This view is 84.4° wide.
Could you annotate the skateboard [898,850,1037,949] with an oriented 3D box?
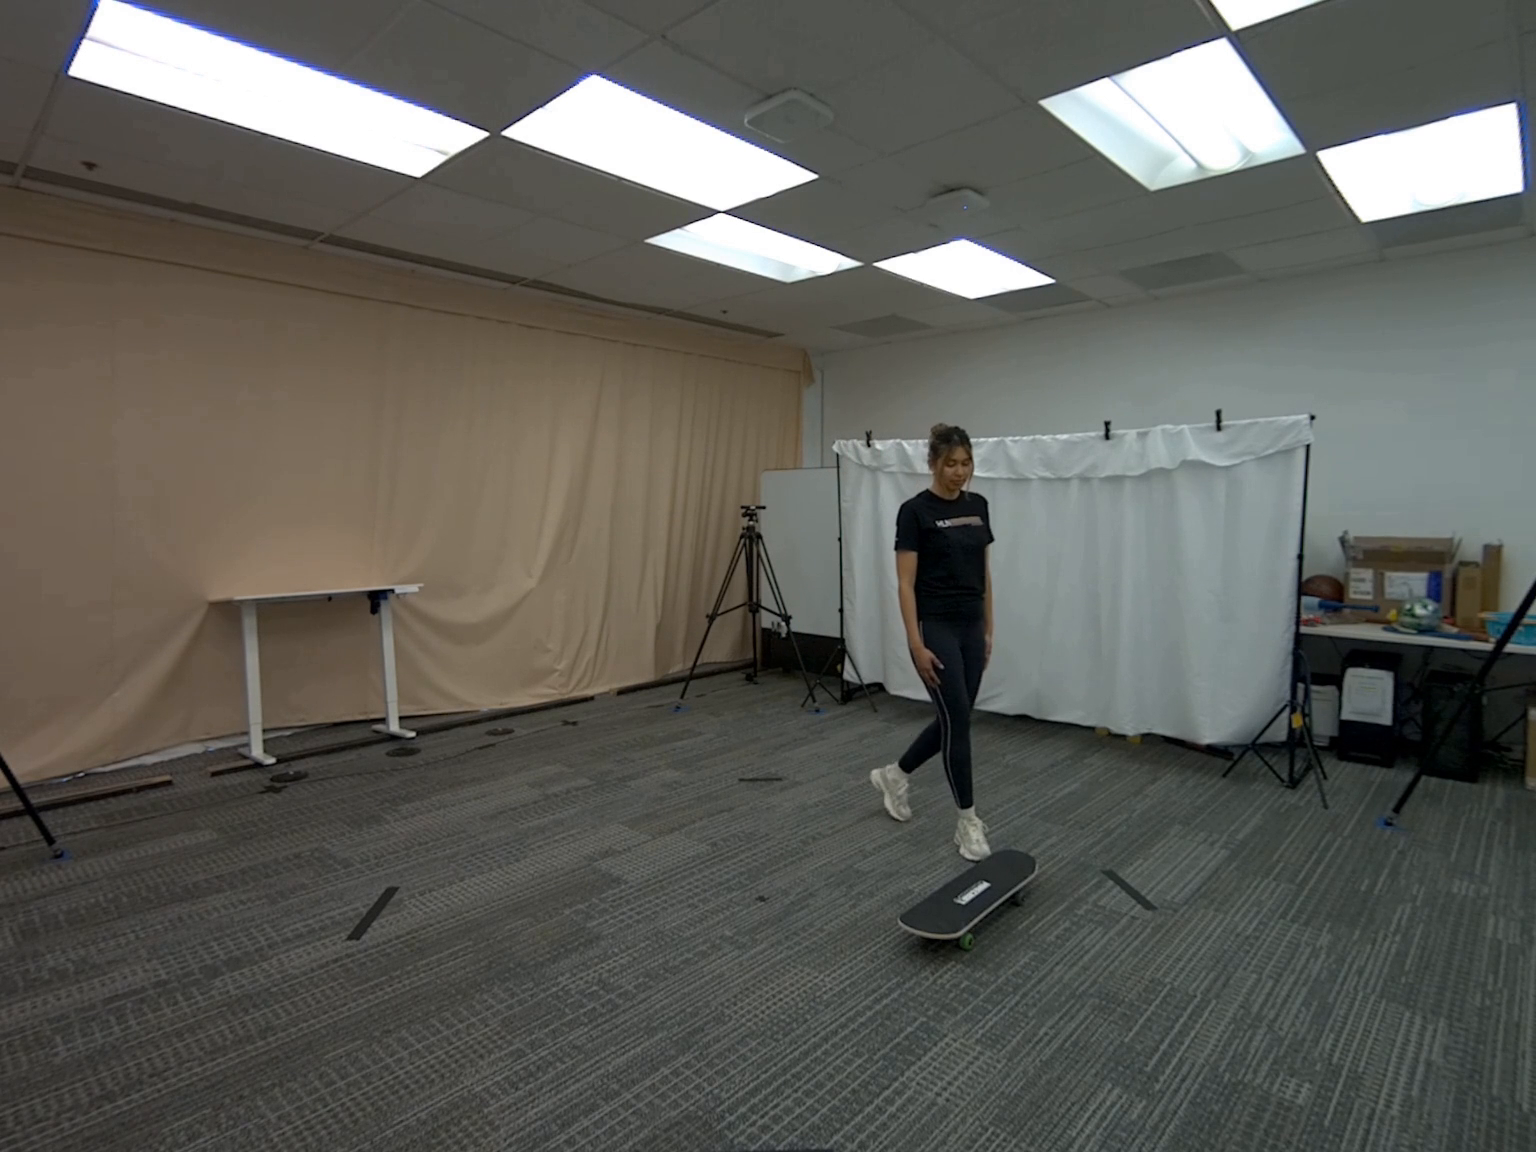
[{"bbox_3d":[0.691,1.101,2.828,0.200,0.110,0.762,2,5,41],"label":"skateboard"}]
